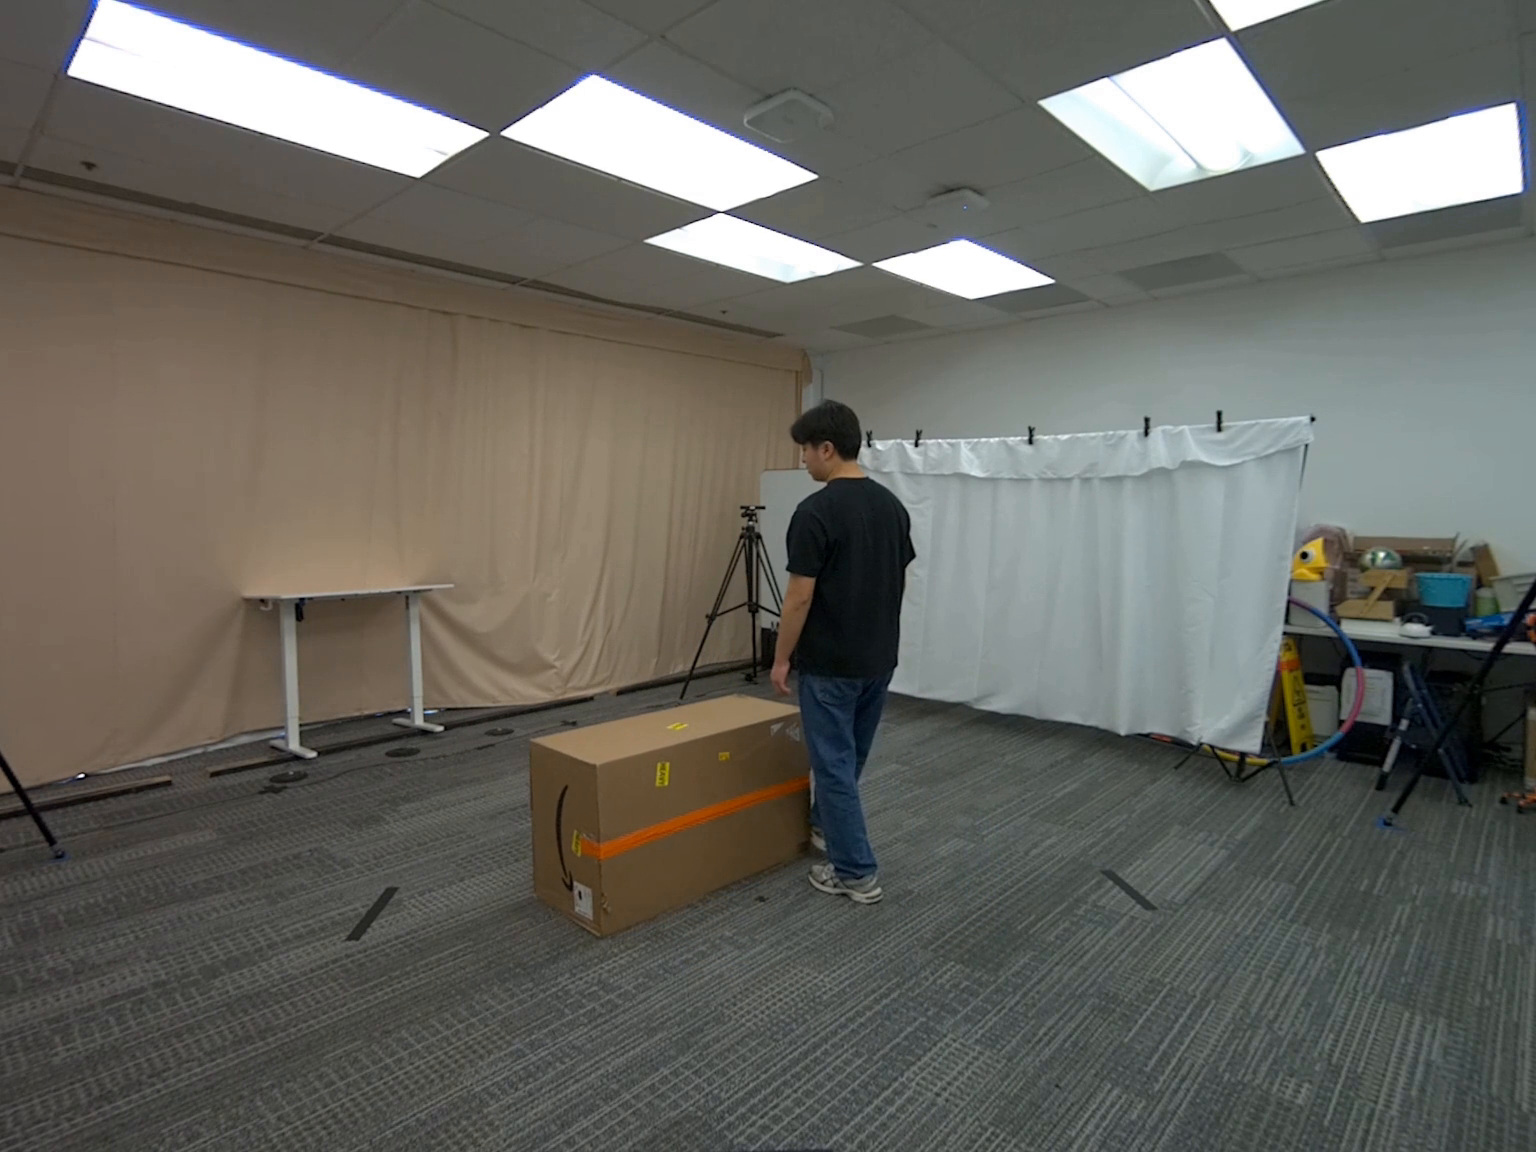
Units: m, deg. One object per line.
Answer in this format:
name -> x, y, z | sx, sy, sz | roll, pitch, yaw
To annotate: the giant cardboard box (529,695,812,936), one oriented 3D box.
giant cardboard box -> -0.336, 0.843, 3.187 | 0.996, 0.582, 0.462 | -5, 6, -44
